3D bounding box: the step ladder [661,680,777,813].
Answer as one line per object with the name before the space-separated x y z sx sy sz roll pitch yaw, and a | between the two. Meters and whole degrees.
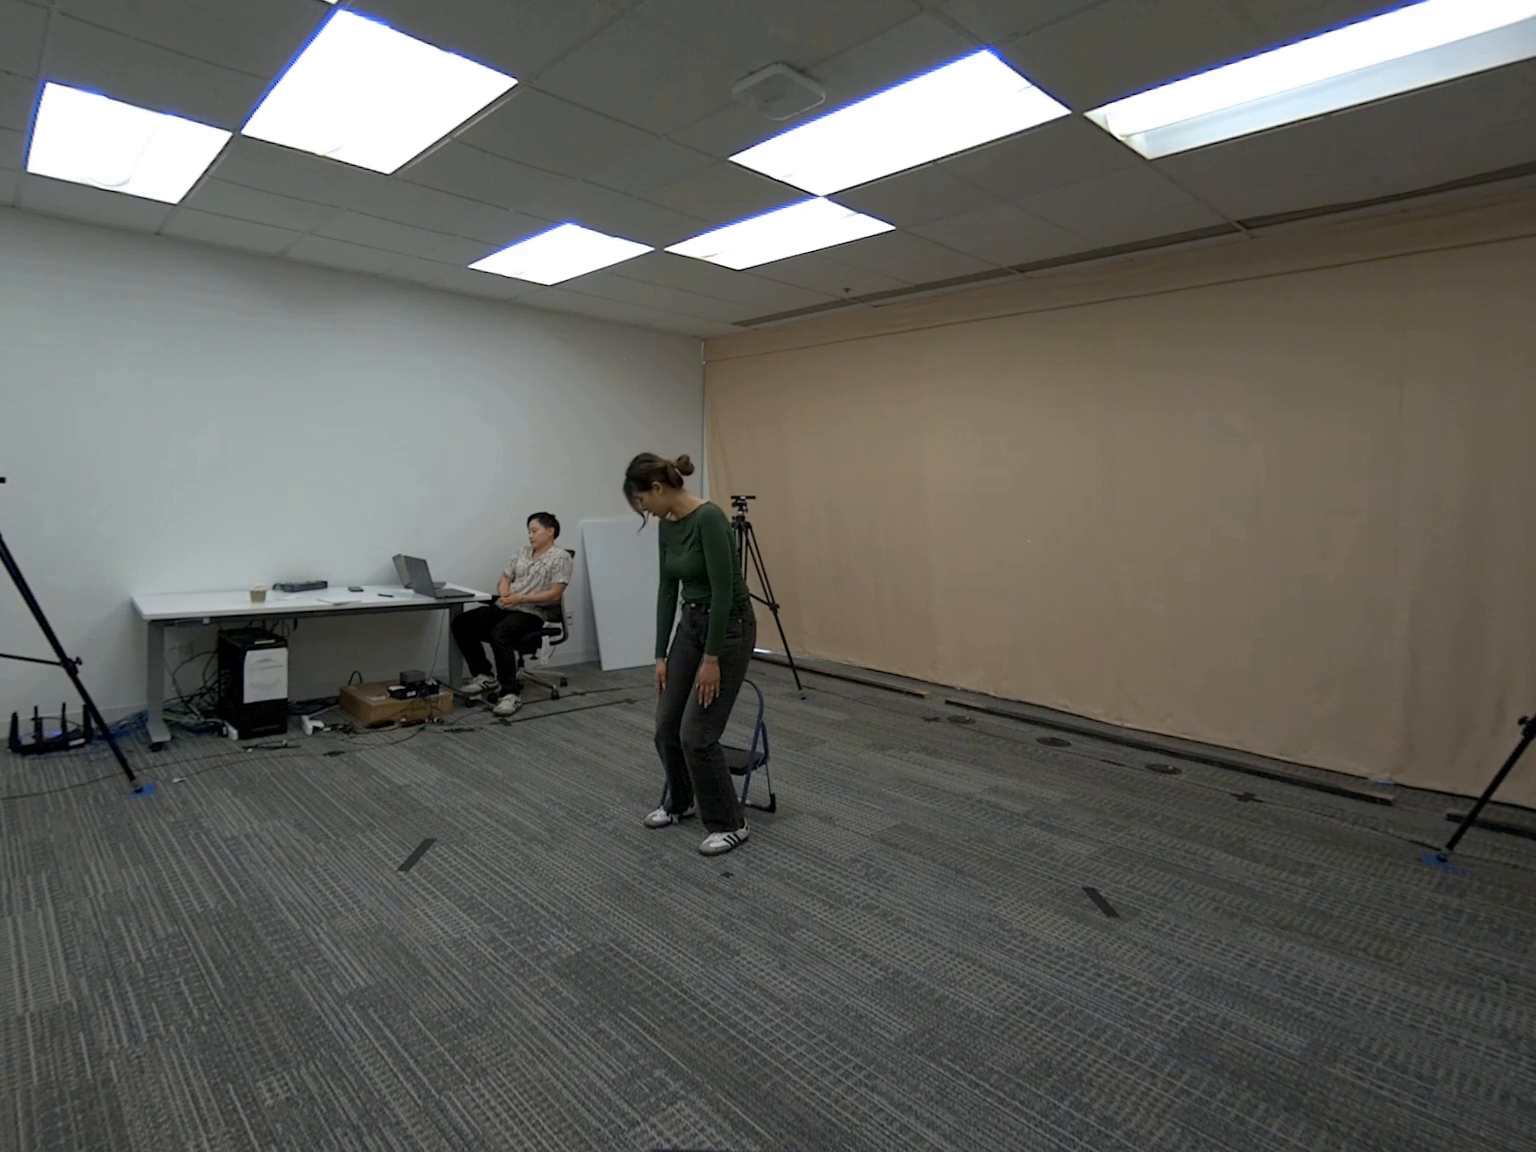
step ladder | -0.222 0.747 3.696 0.440 0.604 0.342 4 5 31
